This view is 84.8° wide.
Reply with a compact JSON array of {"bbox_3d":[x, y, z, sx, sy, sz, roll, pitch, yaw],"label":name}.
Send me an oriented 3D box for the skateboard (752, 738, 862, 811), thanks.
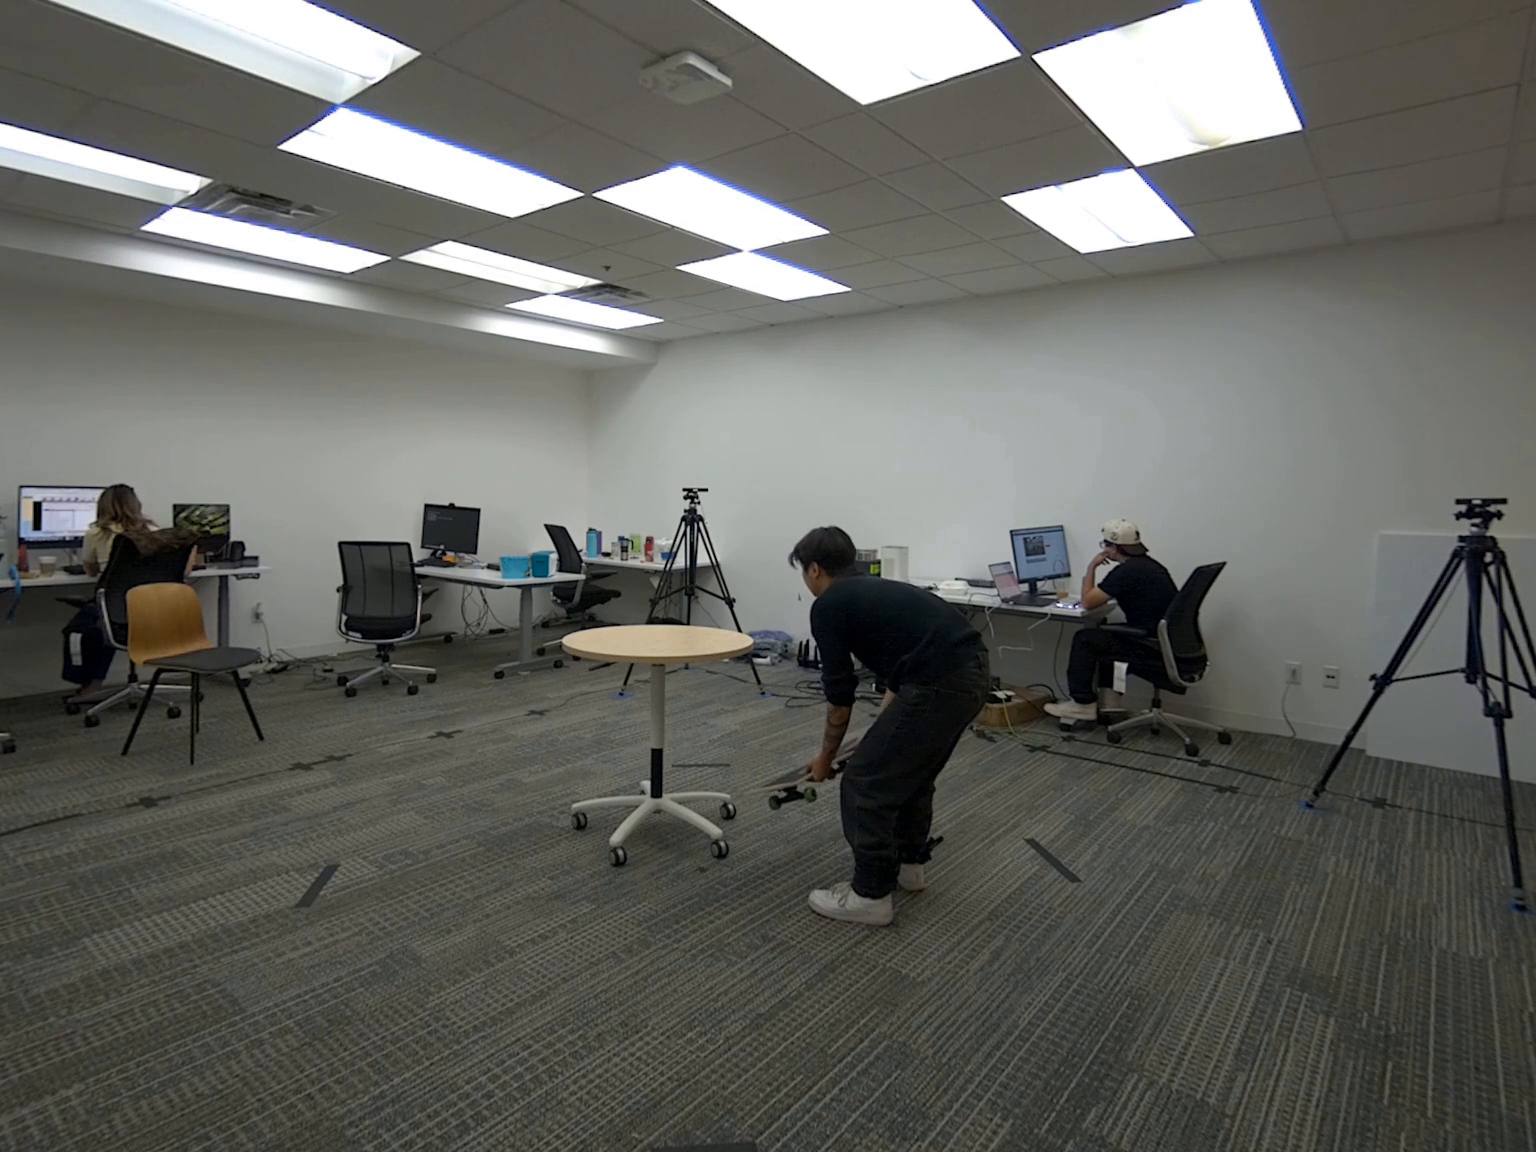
[{"bbox_3d":[0.164,0.728,3.111,0.197,0.111,0.763,-21,-8,31],"label":"skateboard"}]
